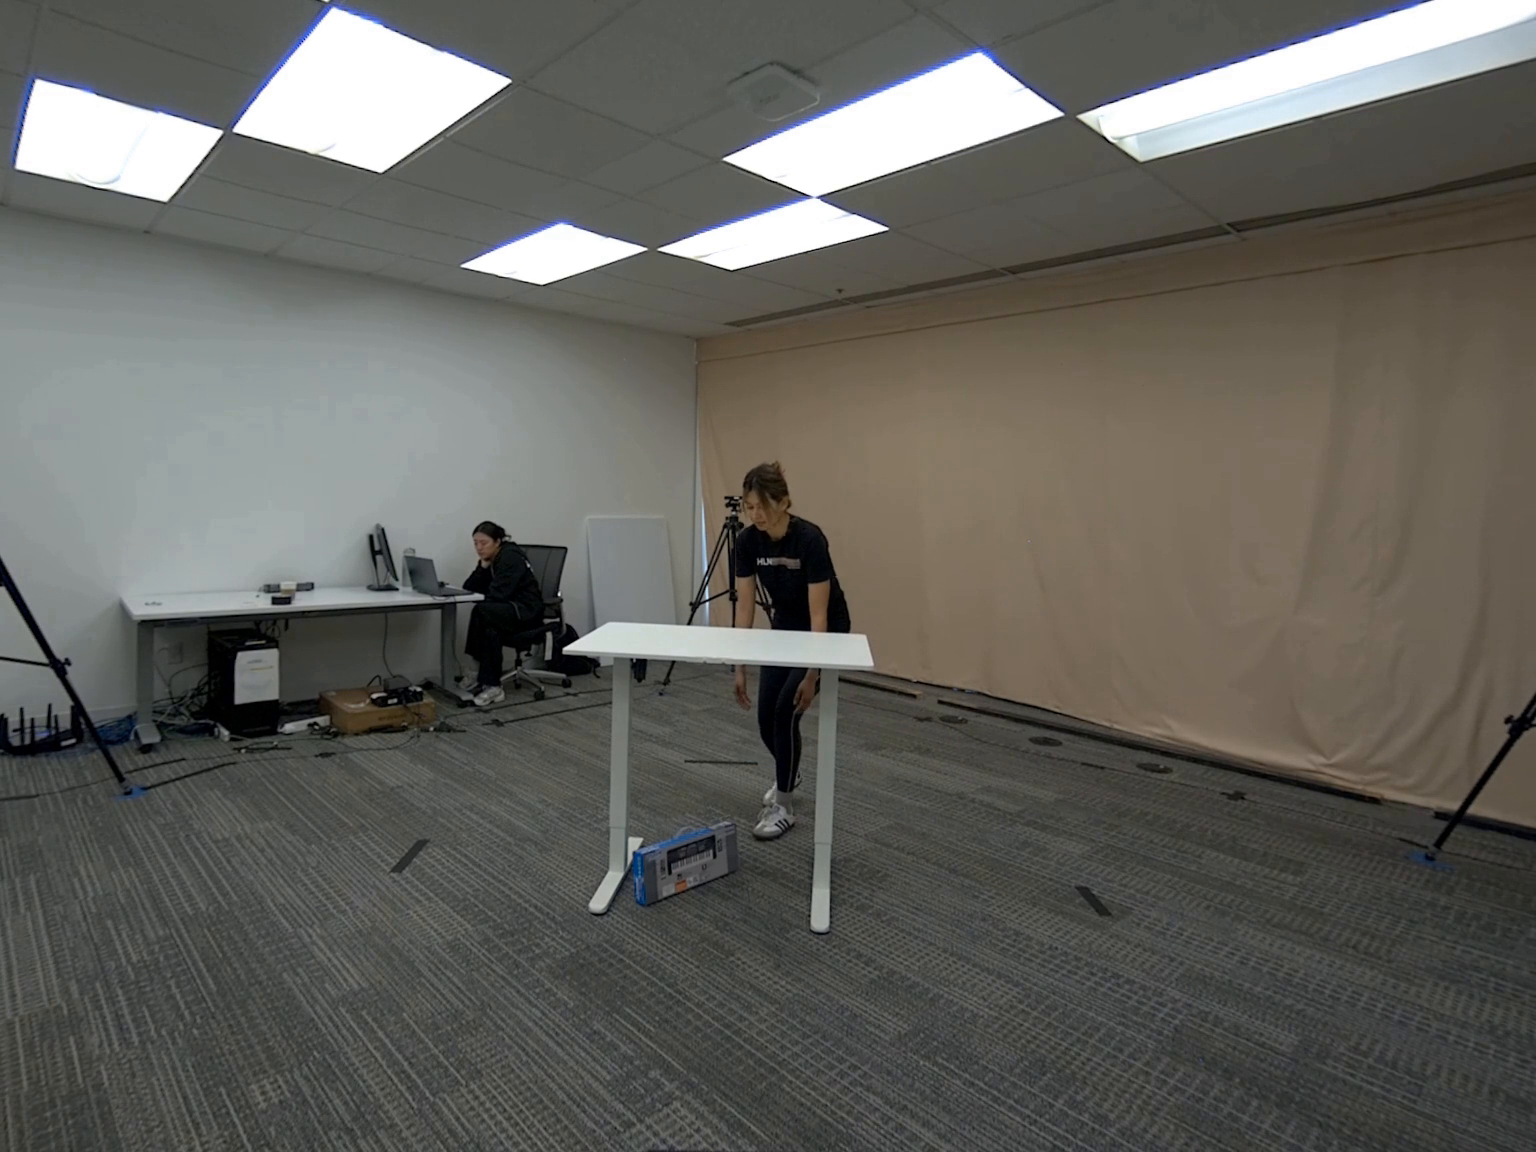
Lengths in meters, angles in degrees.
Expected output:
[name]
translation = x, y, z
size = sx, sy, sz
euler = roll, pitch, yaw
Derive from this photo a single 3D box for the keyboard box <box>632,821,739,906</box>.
[keyboard box]
translation = -0.292, 1.022, 3.012
size = 0.427, 0.176, 0.060
euler = -3, -2, -44
